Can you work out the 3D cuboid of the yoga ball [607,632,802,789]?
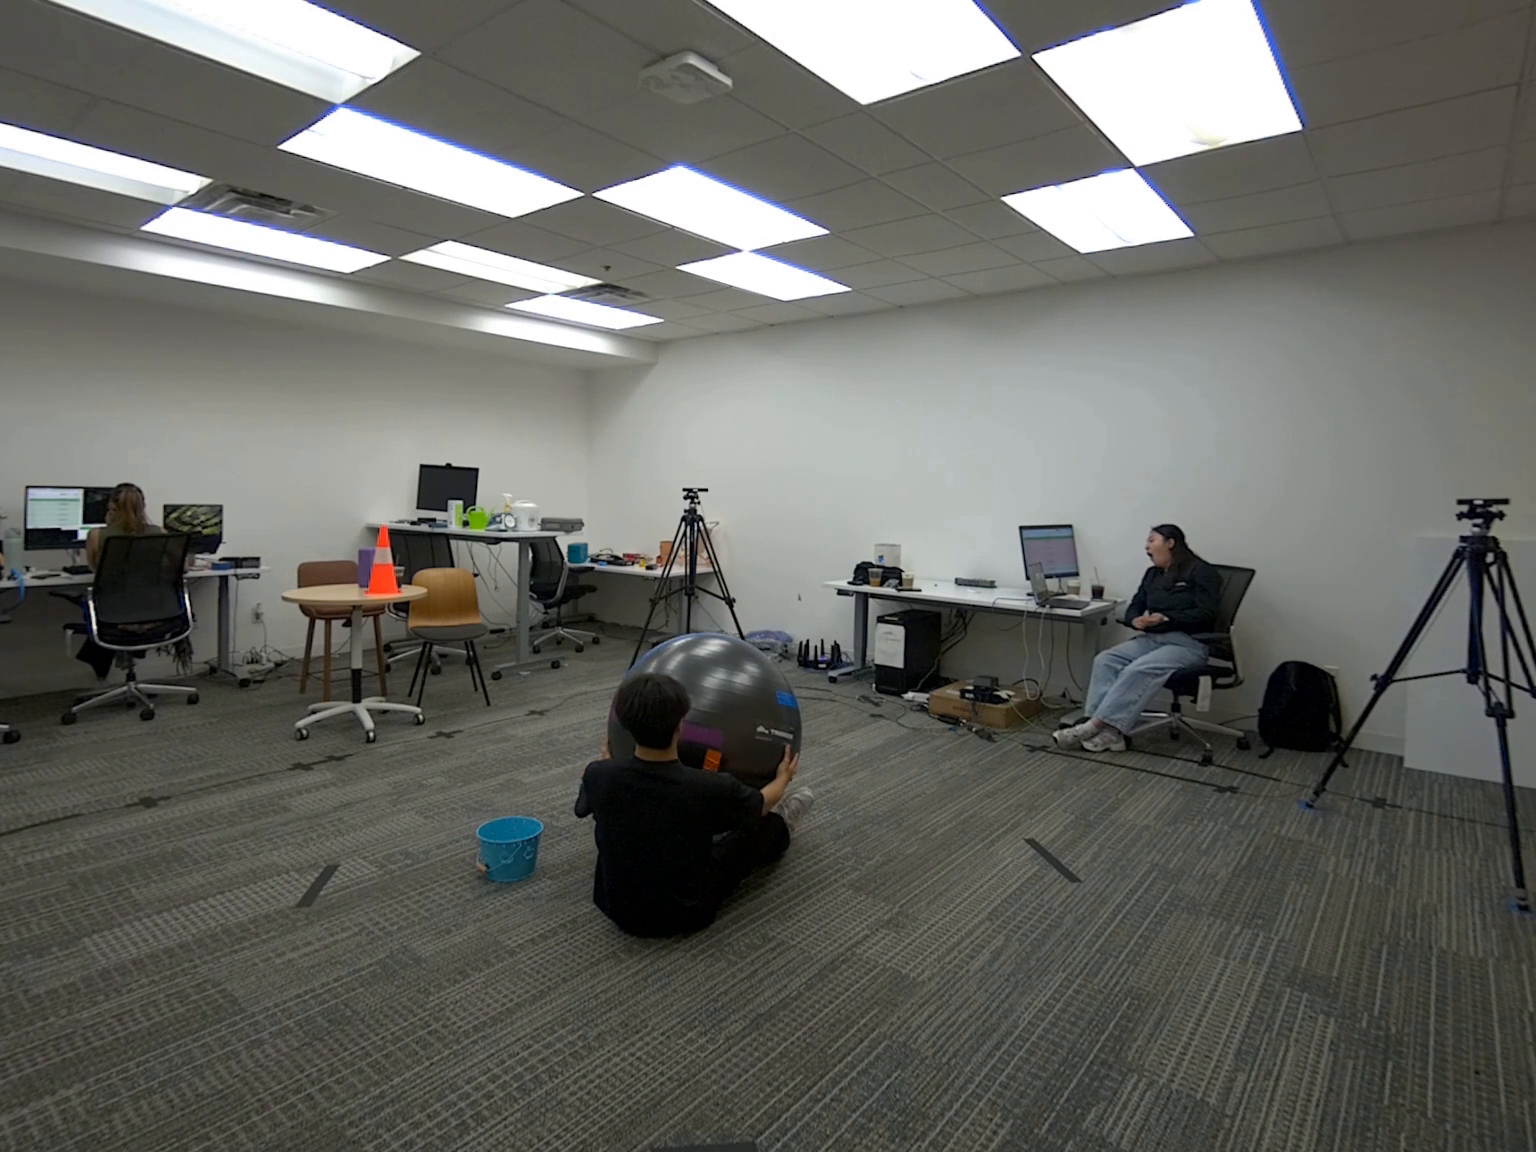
[{"bbox_3d":[-0.255,0.608,3.303,0.757,0.755,0.762,1,4,-2],"label":"yoga ball"}]
